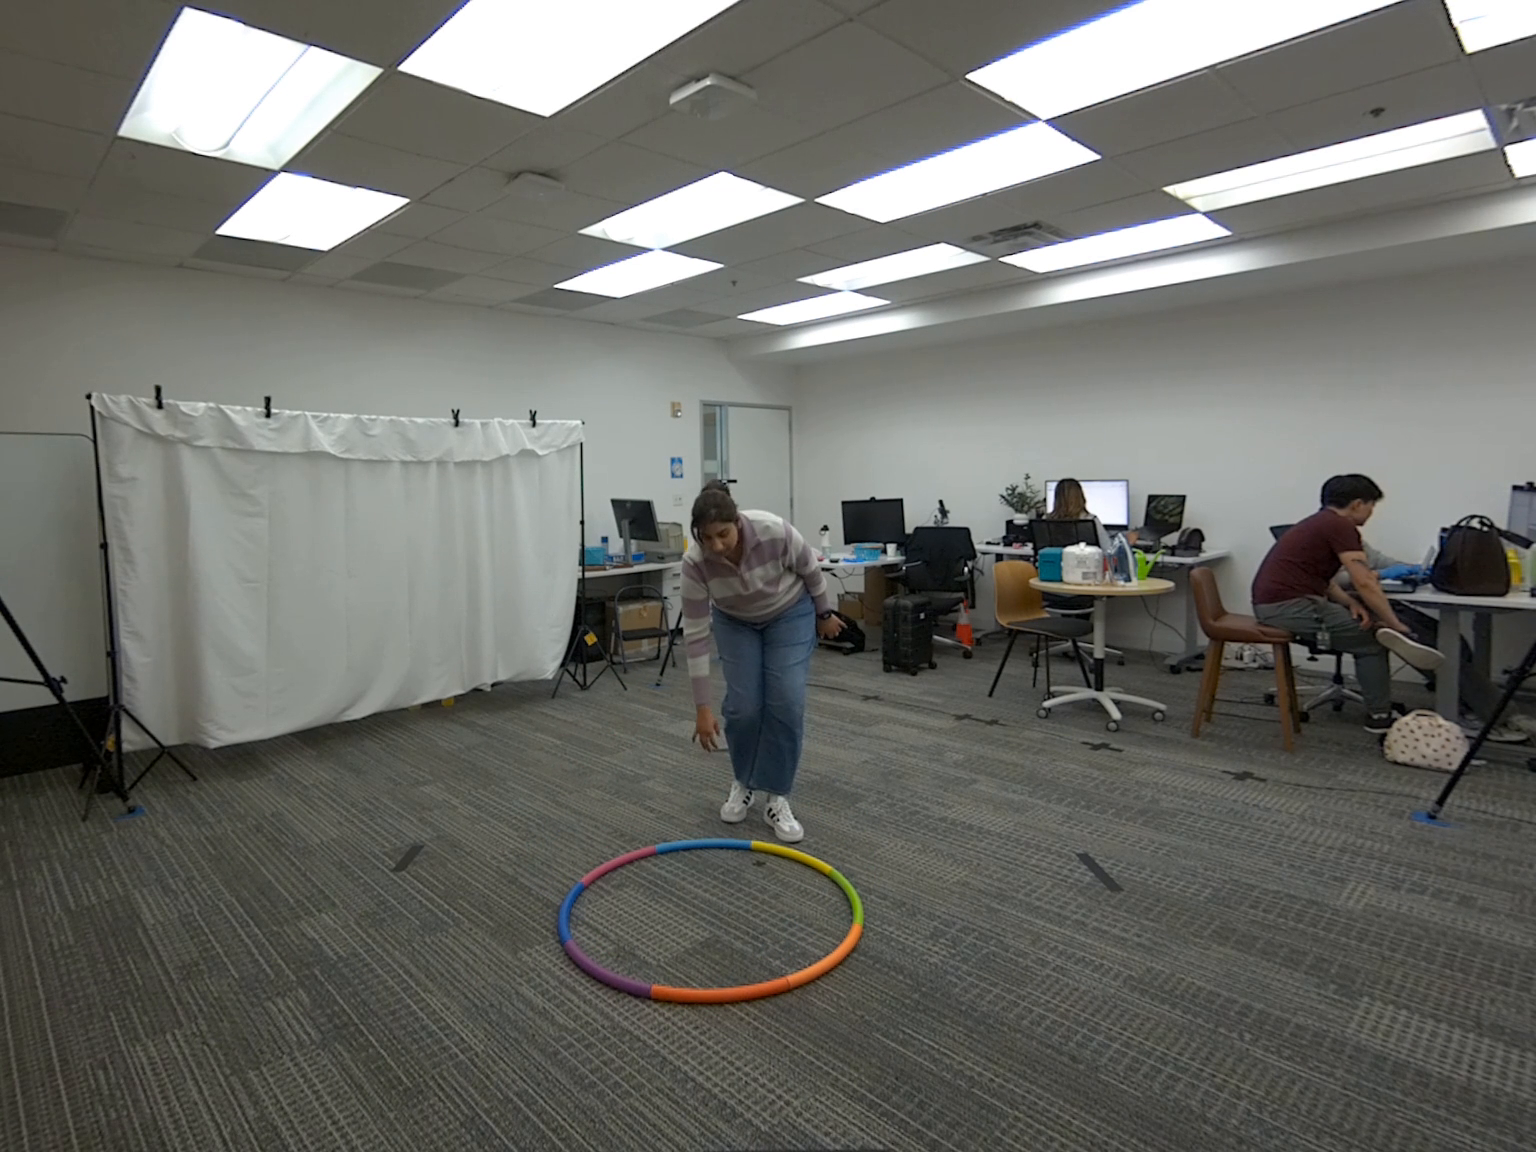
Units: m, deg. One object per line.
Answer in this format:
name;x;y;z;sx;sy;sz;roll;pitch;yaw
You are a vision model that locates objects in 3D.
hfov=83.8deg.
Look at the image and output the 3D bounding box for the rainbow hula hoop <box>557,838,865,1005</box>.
rainbow hula hoop;-0.179;1.056;2.773;0.978;0.035;0.984;-2;7;-1
